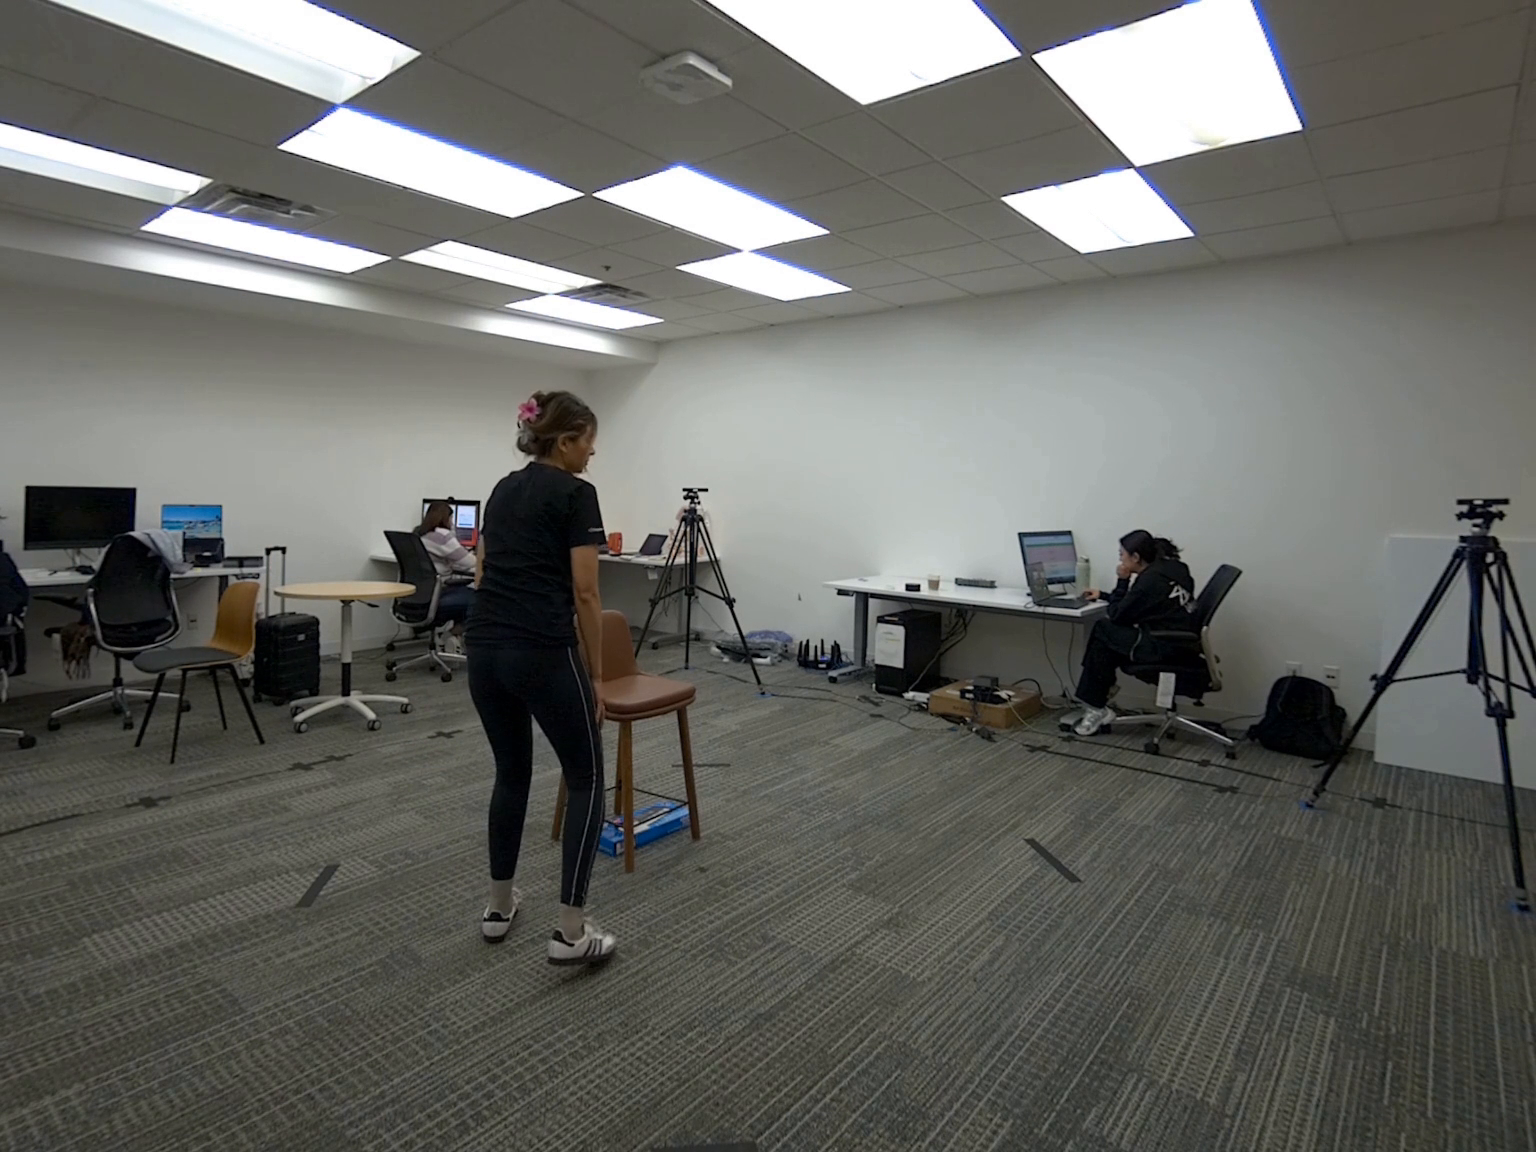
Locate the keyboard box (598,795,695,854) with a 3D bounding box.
[{"bbox_3d":[-0.512,0.999,3.407,0.182,0.059,0.424,5,8,39],"label":"keyboard box"}]
